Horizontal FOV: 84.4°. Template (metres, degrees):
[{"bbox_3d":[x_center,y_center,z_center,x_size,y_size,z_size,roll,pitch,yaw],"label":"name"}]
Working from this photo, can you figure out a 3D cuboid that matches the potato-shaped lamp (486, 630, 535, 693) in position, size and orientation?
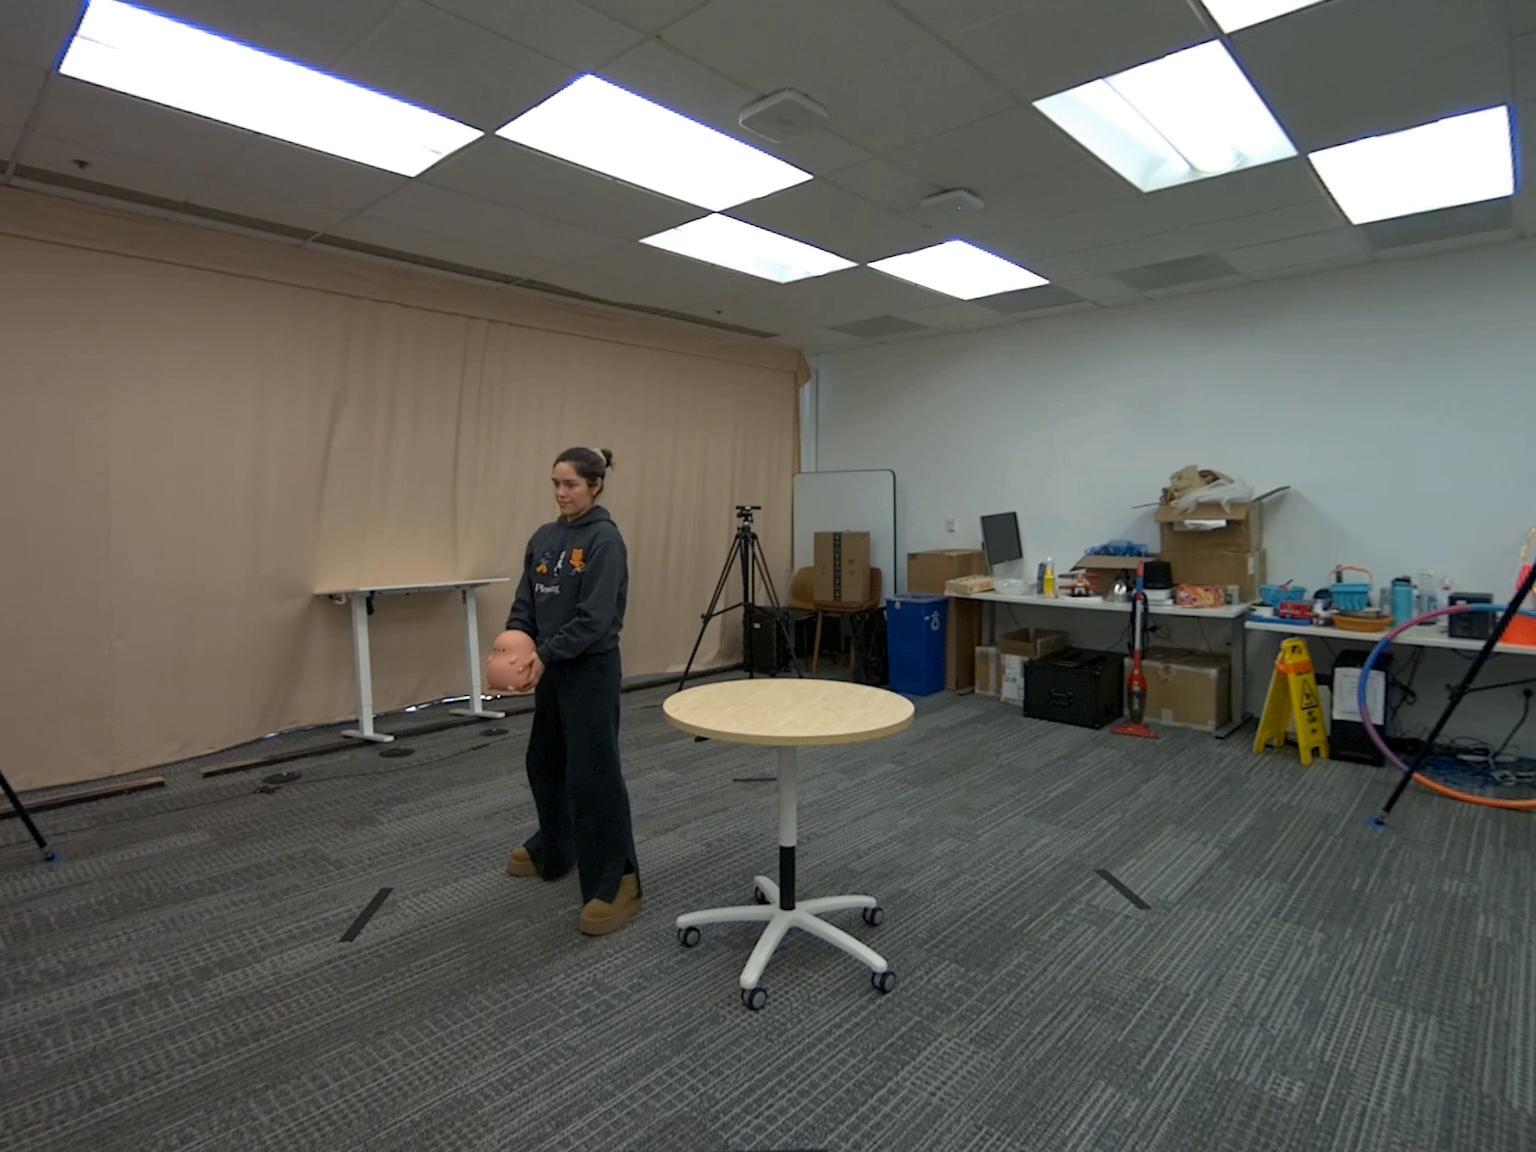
[{"bbox_3d":[-0.851,0.290,2.855,0.170,0.197,0.167,-1,5,34],"label":"potato-shaped lamp"}]
